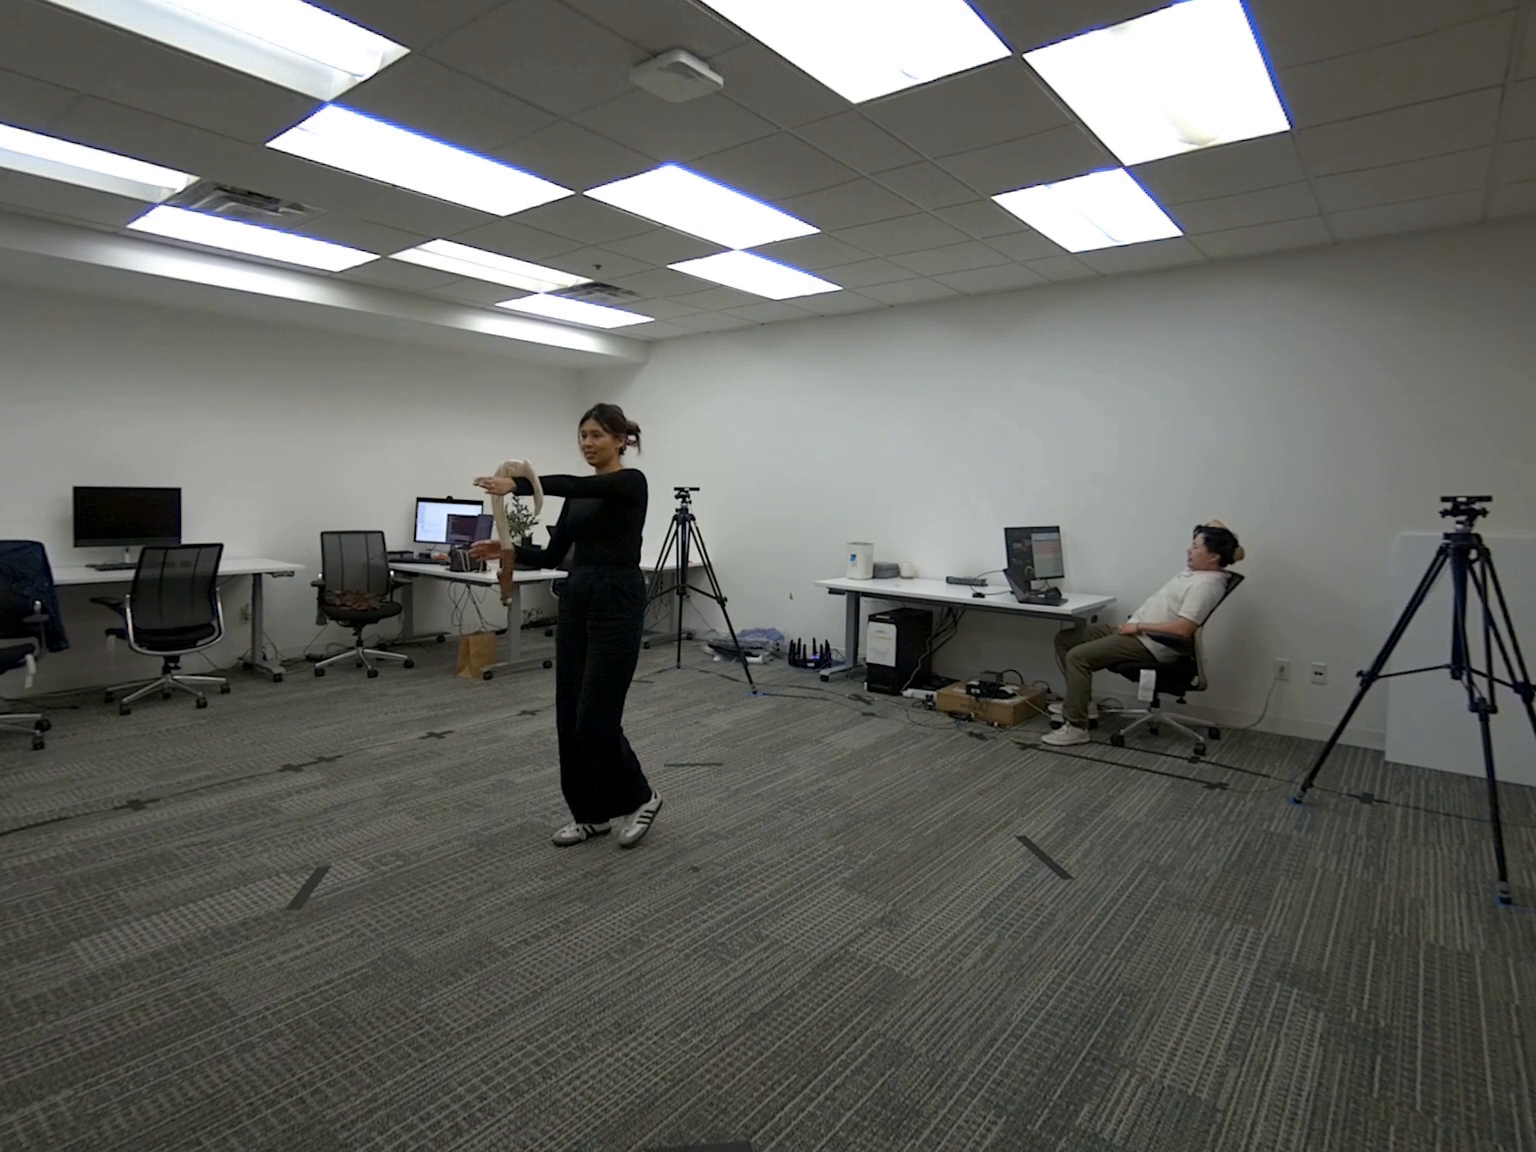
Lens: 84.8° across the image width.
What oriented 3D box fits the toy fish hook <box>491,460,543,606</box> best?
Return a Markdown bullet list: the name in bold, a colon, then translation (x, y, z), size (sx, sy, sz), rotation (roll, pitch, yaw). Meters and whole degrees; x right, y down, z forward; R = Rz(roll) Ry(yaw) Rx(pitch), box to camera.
- **toy fish hook**: translation (-0.879, -0.149, 2.929), size (0.231, 0.505, 0.047), rotation (2, 3, 30)
